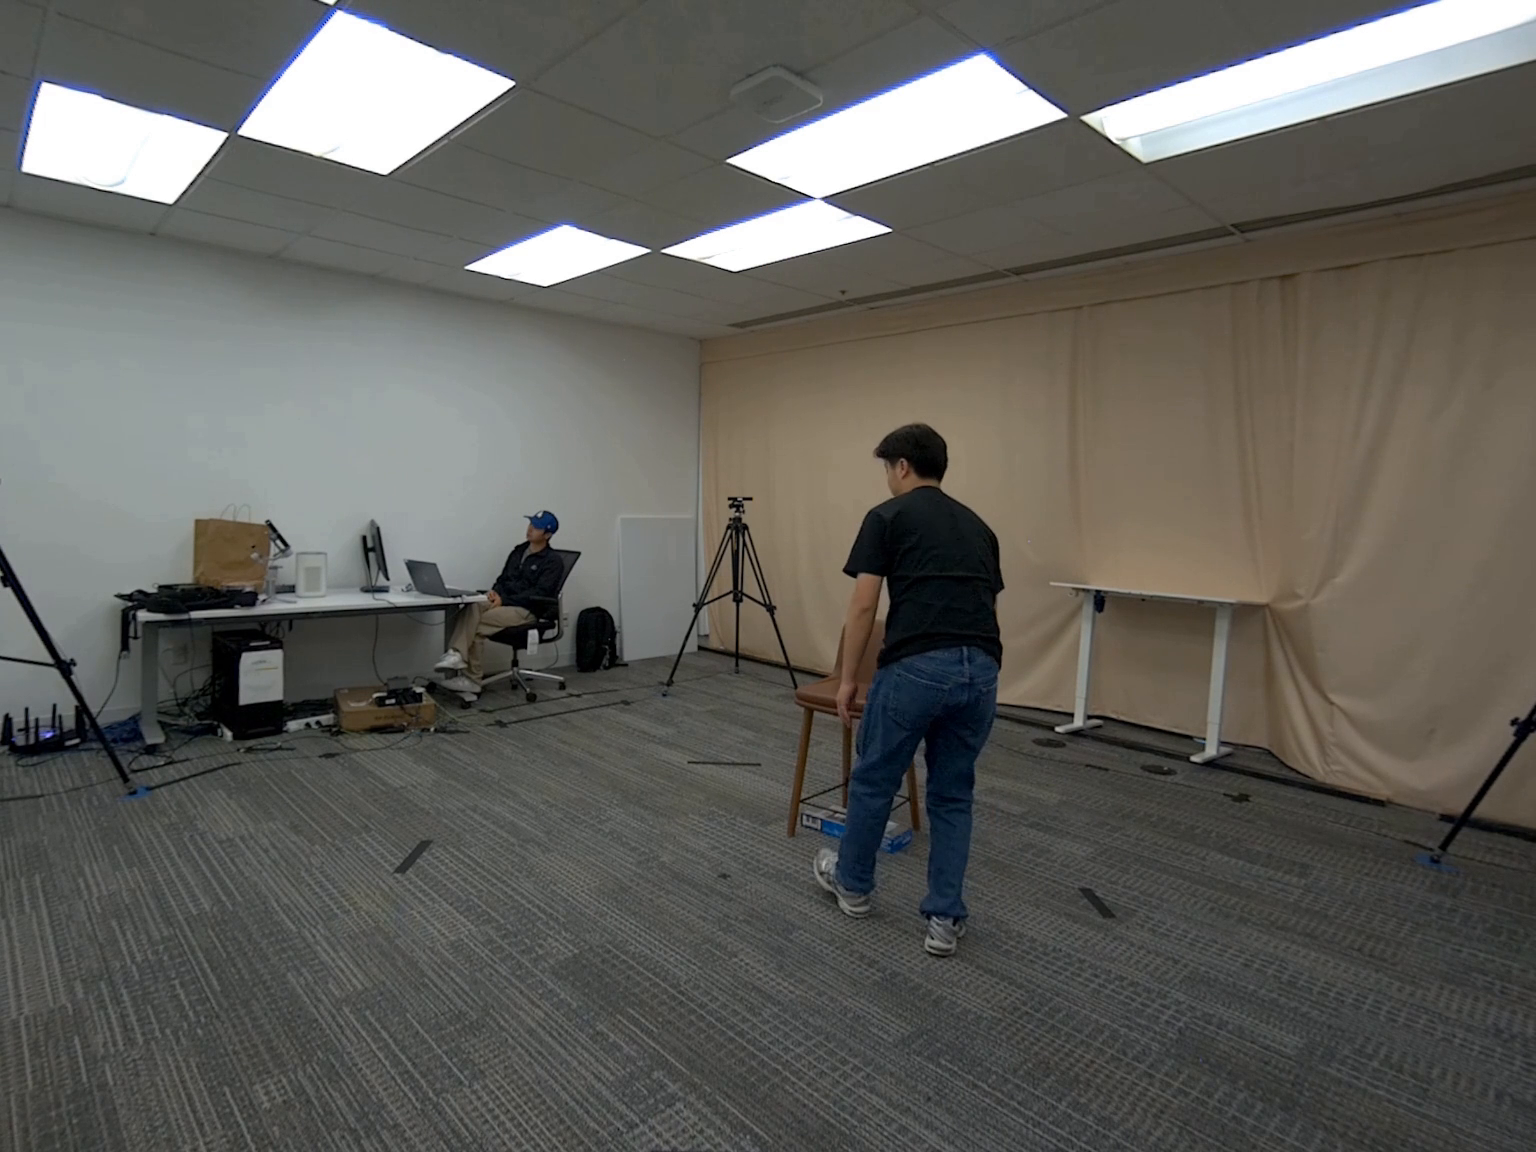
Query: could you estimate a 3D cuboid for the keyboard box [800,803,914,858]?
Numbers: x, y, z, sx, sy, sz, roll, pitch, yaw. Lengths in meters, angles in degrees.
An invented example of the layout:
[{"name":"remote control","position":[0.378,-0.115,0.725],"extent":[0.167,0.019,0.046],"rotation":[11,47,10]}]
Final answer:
[{"name":"keyboard box","position":[0.366,1.058,3.543],"extent":[0.448,0.059,0.172],"rotation":[5,6,38]}]
